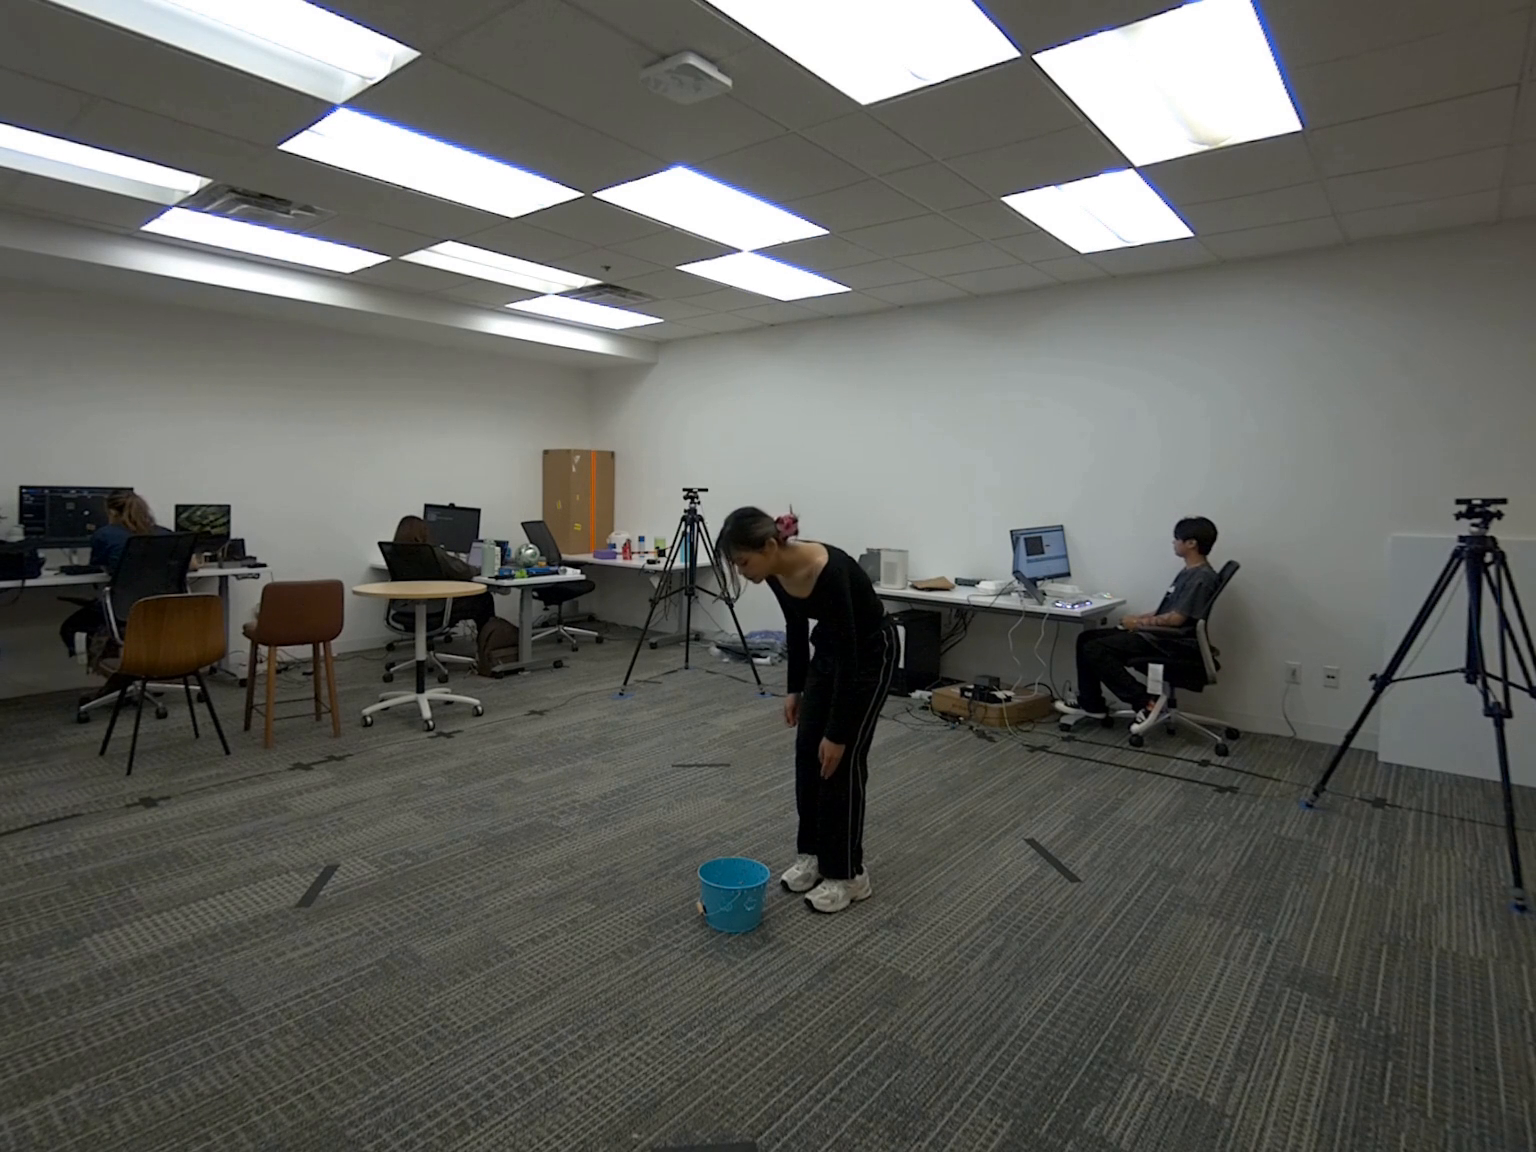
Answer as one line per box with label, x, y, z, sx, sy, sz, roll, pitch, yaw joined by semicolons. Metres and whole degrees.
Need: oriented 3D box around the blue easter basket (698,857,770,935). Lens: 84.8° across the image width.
blue easter basket;-0.124;1.026;2.757;0.243;0.155;0.245;1;5;-2
